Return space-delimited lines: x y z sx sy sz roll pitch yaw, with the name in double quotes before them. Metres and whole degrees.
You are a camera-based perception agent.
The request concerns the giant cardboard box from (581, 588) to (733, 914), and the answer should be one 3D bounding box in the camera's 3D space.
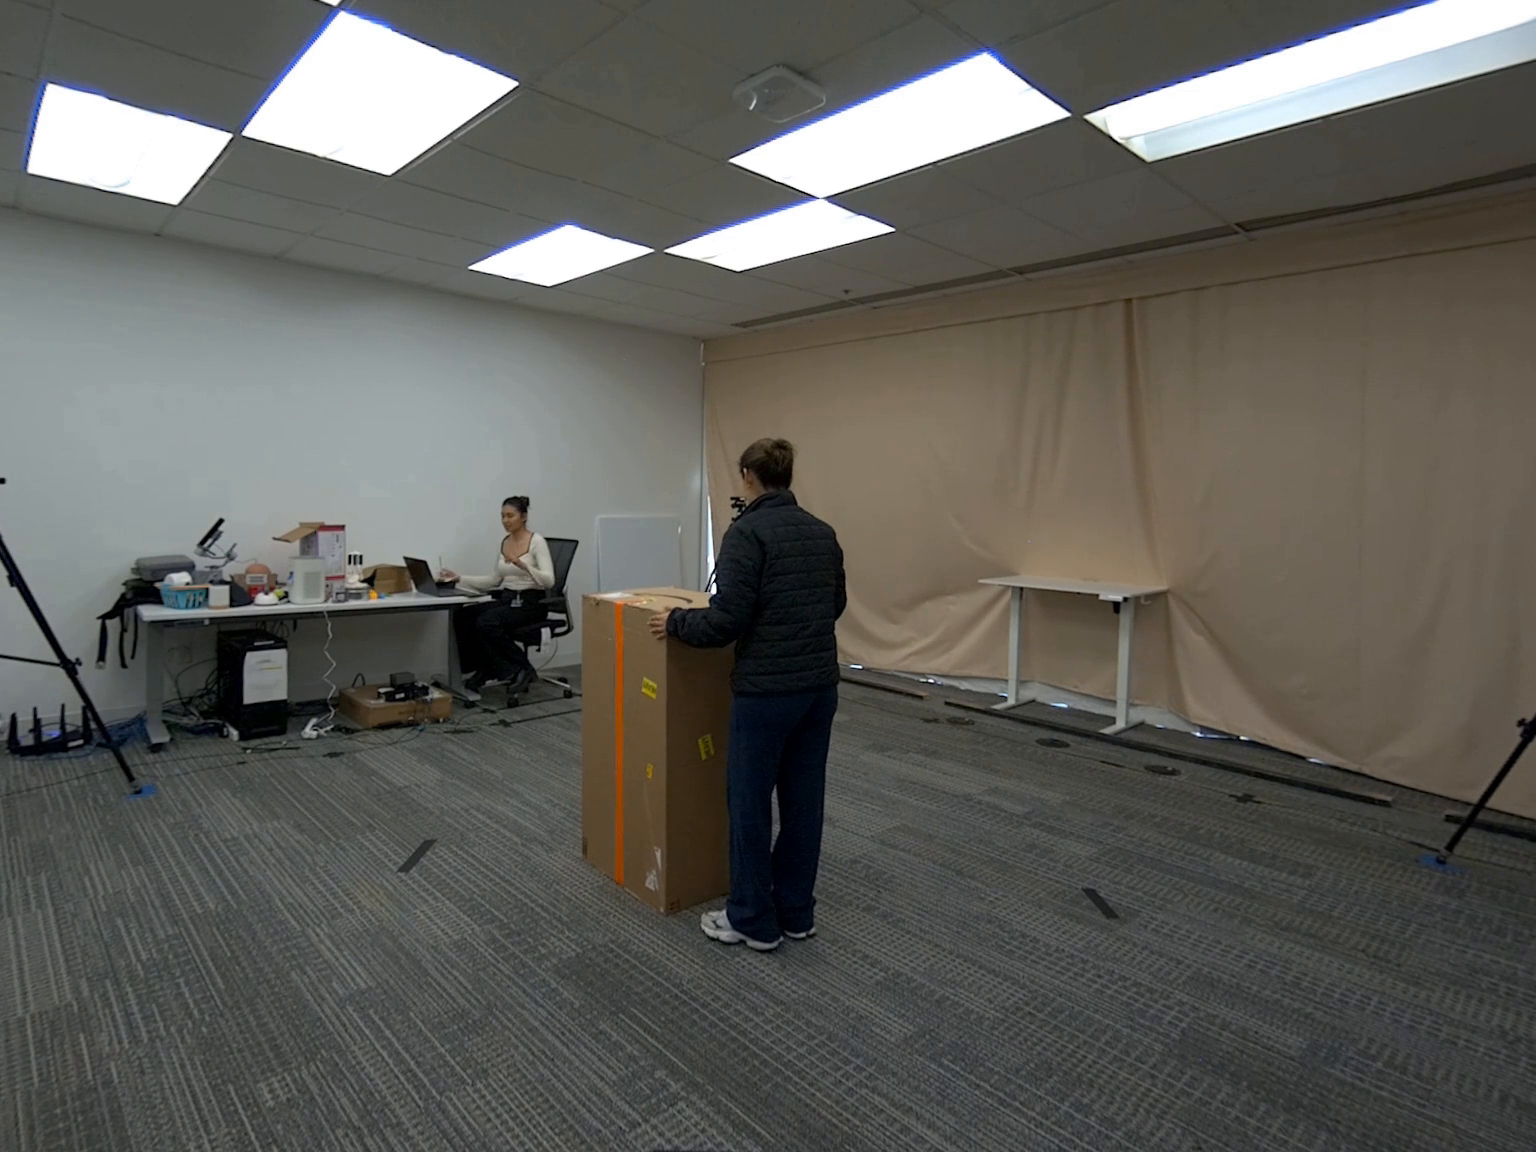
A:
"giant cardboard box" -0.375 0.593 3.099 0.417 1.023 0.592 -3 5 -41
